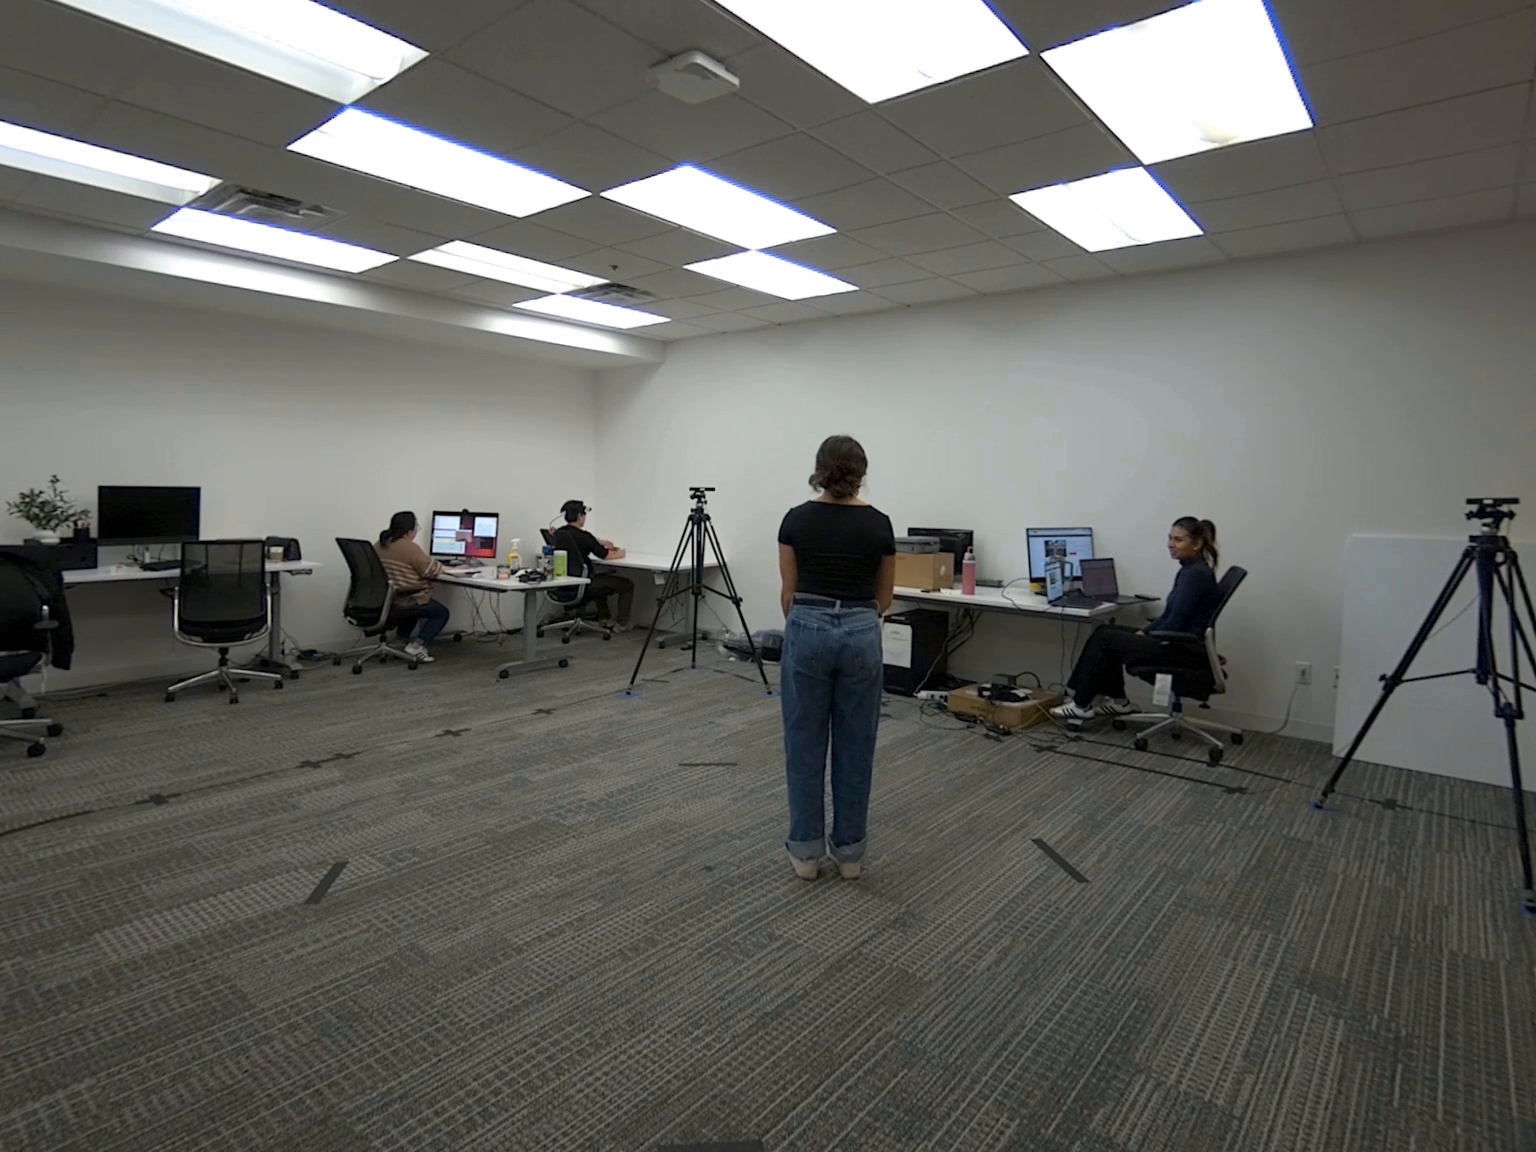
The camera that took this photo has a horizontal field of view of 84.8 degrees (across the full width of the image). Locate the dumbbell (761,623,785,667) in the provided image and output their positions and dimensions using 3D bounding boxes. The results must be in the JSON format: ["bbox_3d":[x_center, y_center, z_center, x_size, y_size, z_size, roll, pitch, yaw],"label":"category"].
[{"bbox_3d":[0.125,0.282,3.316,0.294,0.120,0.110,6,24,2],"label":"dumbbell"}]
